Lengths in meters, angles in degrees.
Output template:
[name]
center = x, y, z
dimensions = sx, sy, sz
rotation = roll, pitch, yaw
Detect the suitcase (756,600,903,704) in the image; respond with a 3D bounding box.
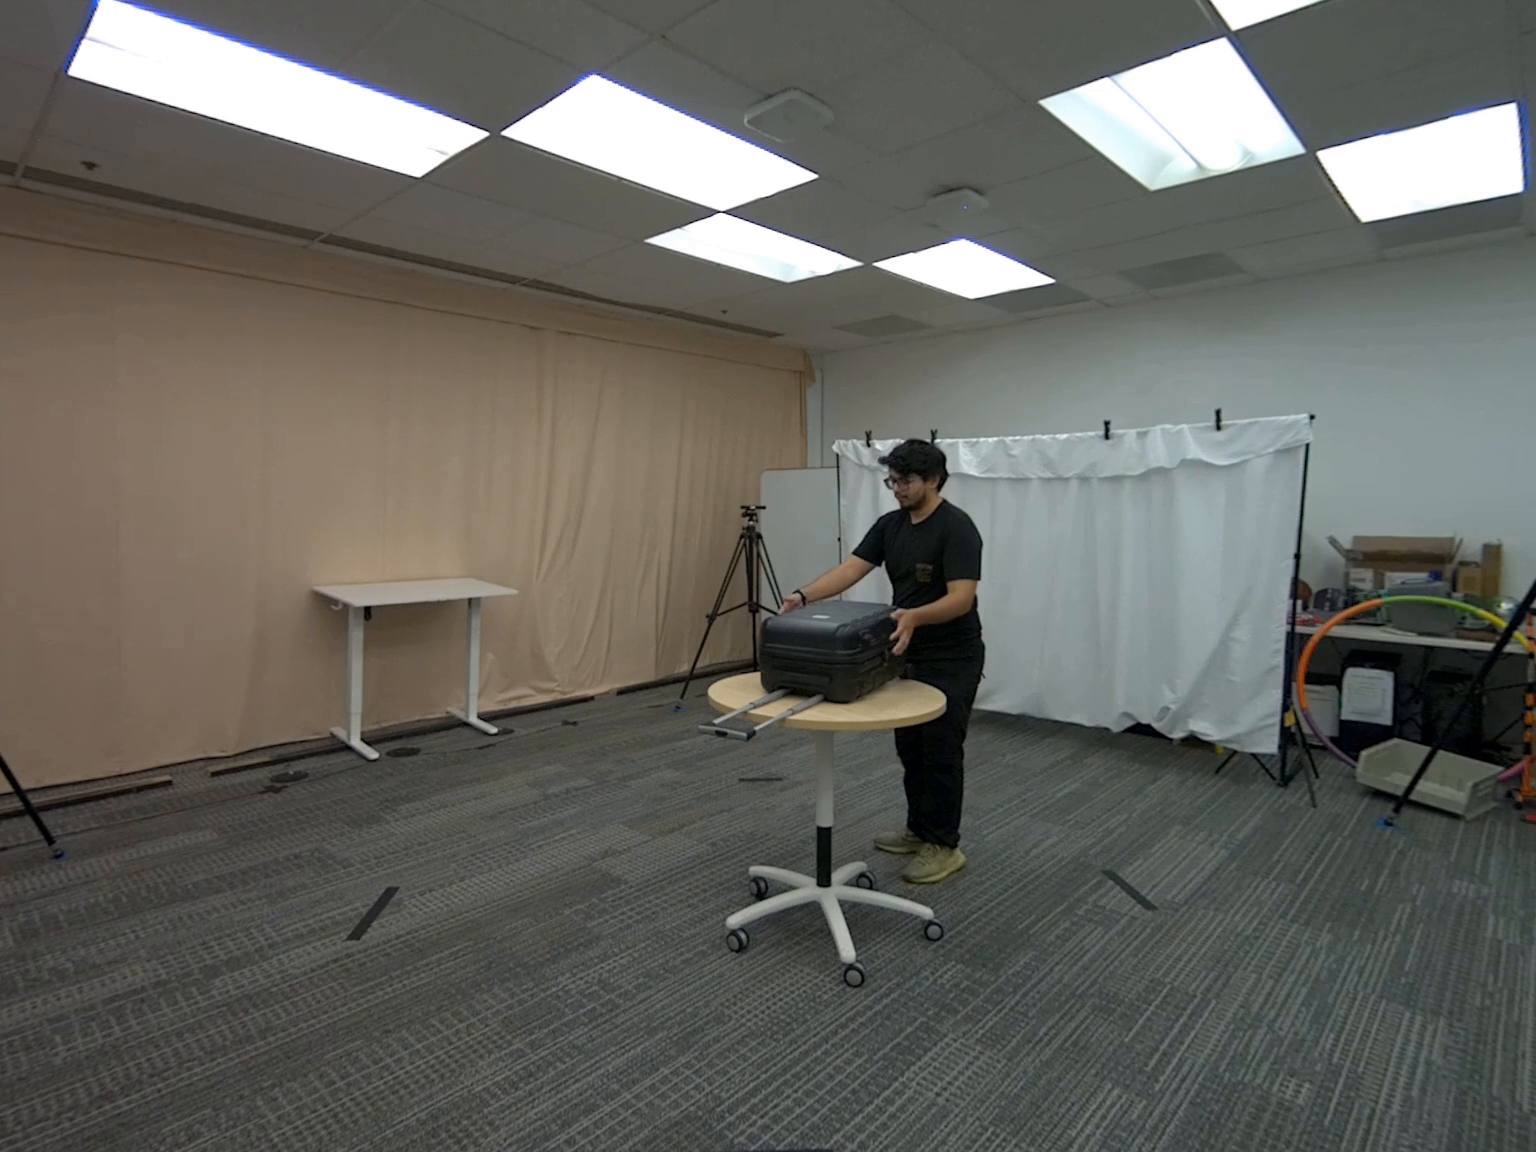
[suitcase]
center = 0.125, 0.259, 2.657
dimensions = 0.396, 0.256, 0.951
rotation = 5, 6, 32
